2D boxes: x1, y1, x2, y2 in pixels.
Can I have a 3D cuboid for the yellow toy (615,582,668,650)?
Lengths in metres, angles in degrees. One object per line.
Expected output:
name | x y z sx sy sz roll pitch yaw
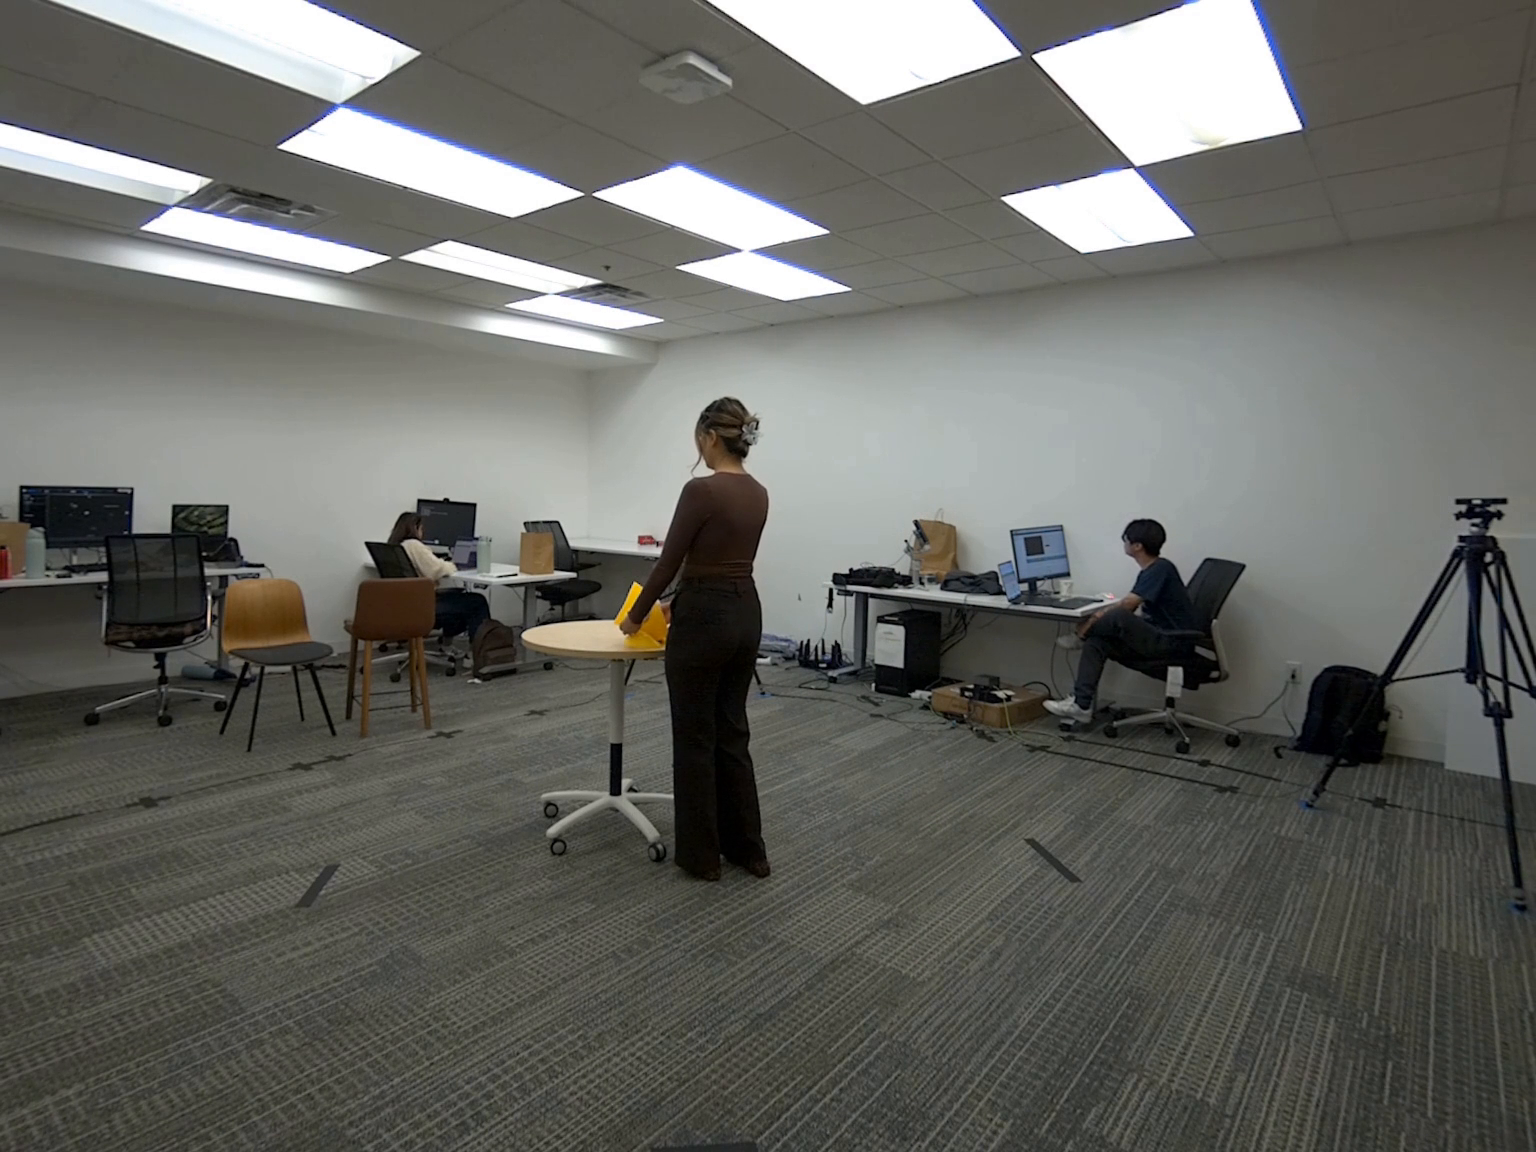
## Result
yellow toy | -0.473 0.138 3.252 0.198 0.230 0.201 4 5 21
